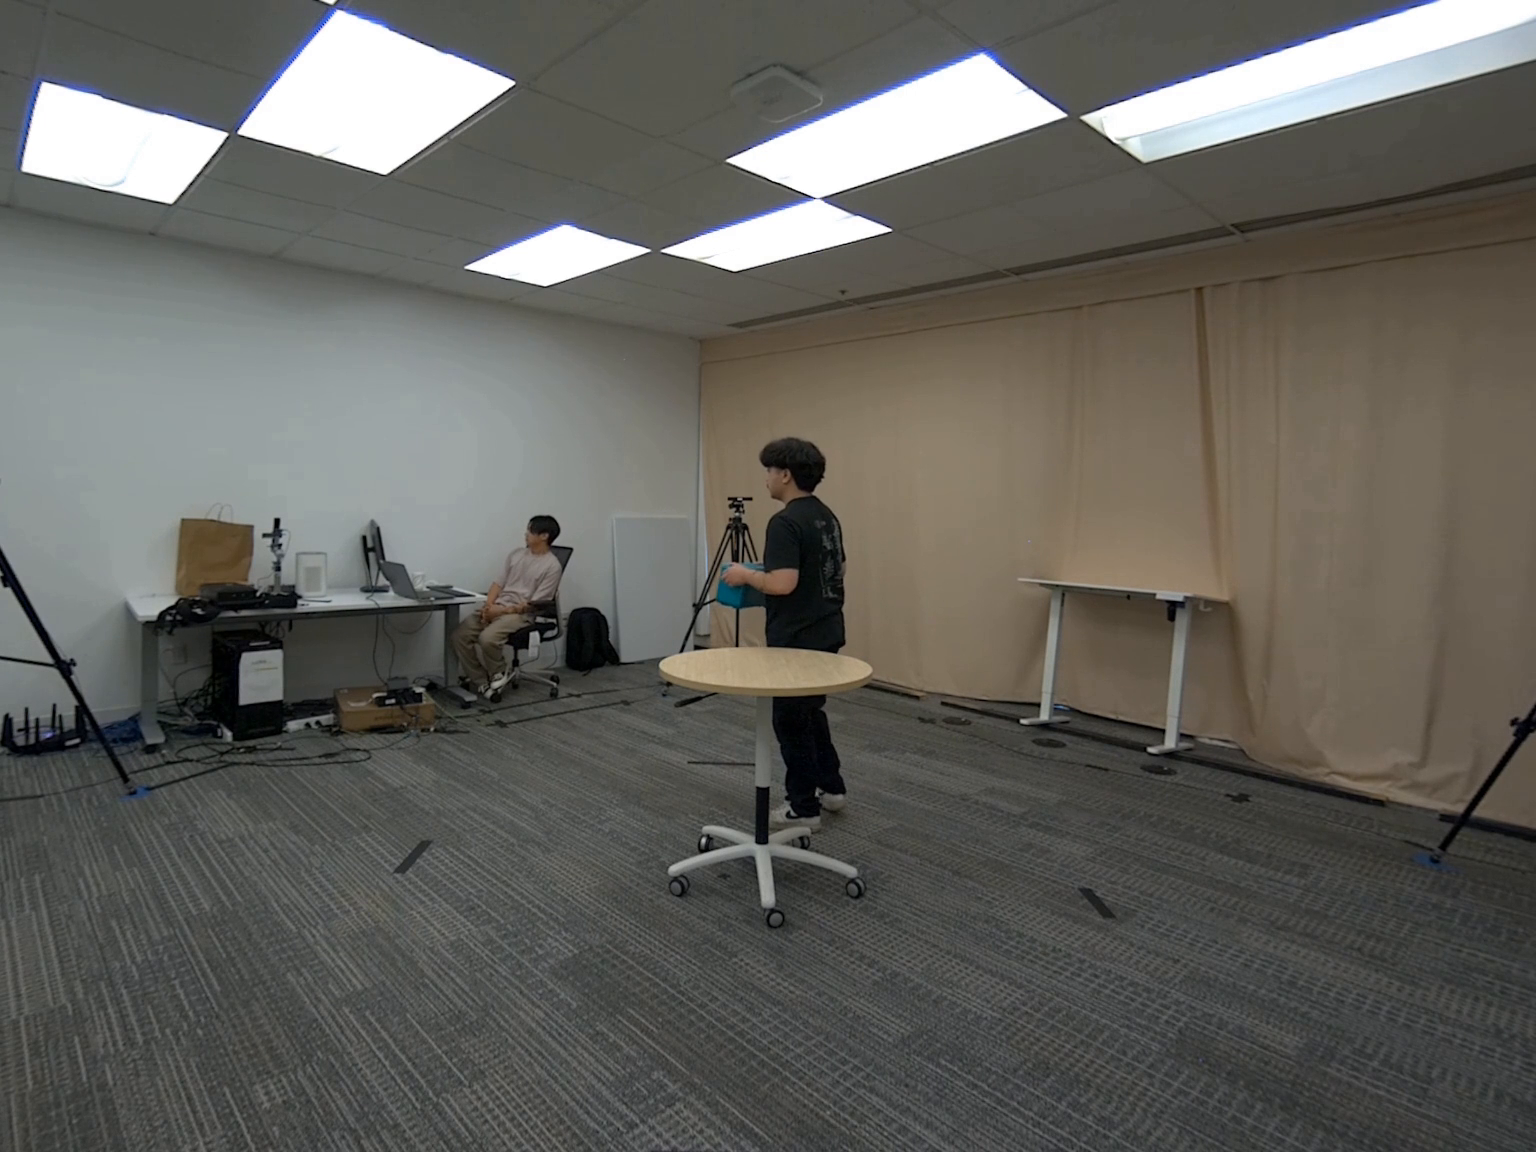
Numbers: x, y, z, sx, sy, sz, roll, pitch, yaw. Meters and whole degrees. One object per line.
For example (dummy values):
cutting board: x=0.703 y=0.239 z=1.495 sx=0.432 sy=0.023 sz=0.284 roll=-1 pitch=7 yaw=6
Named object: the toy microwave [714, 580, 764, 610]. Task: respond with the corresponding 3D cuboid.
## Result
toy microwave: x=-0.109 y=0.039 z=3.758 sx=0.156 sy=0.183 sz=0.280 roll=13 pitch=8 yaw=28
